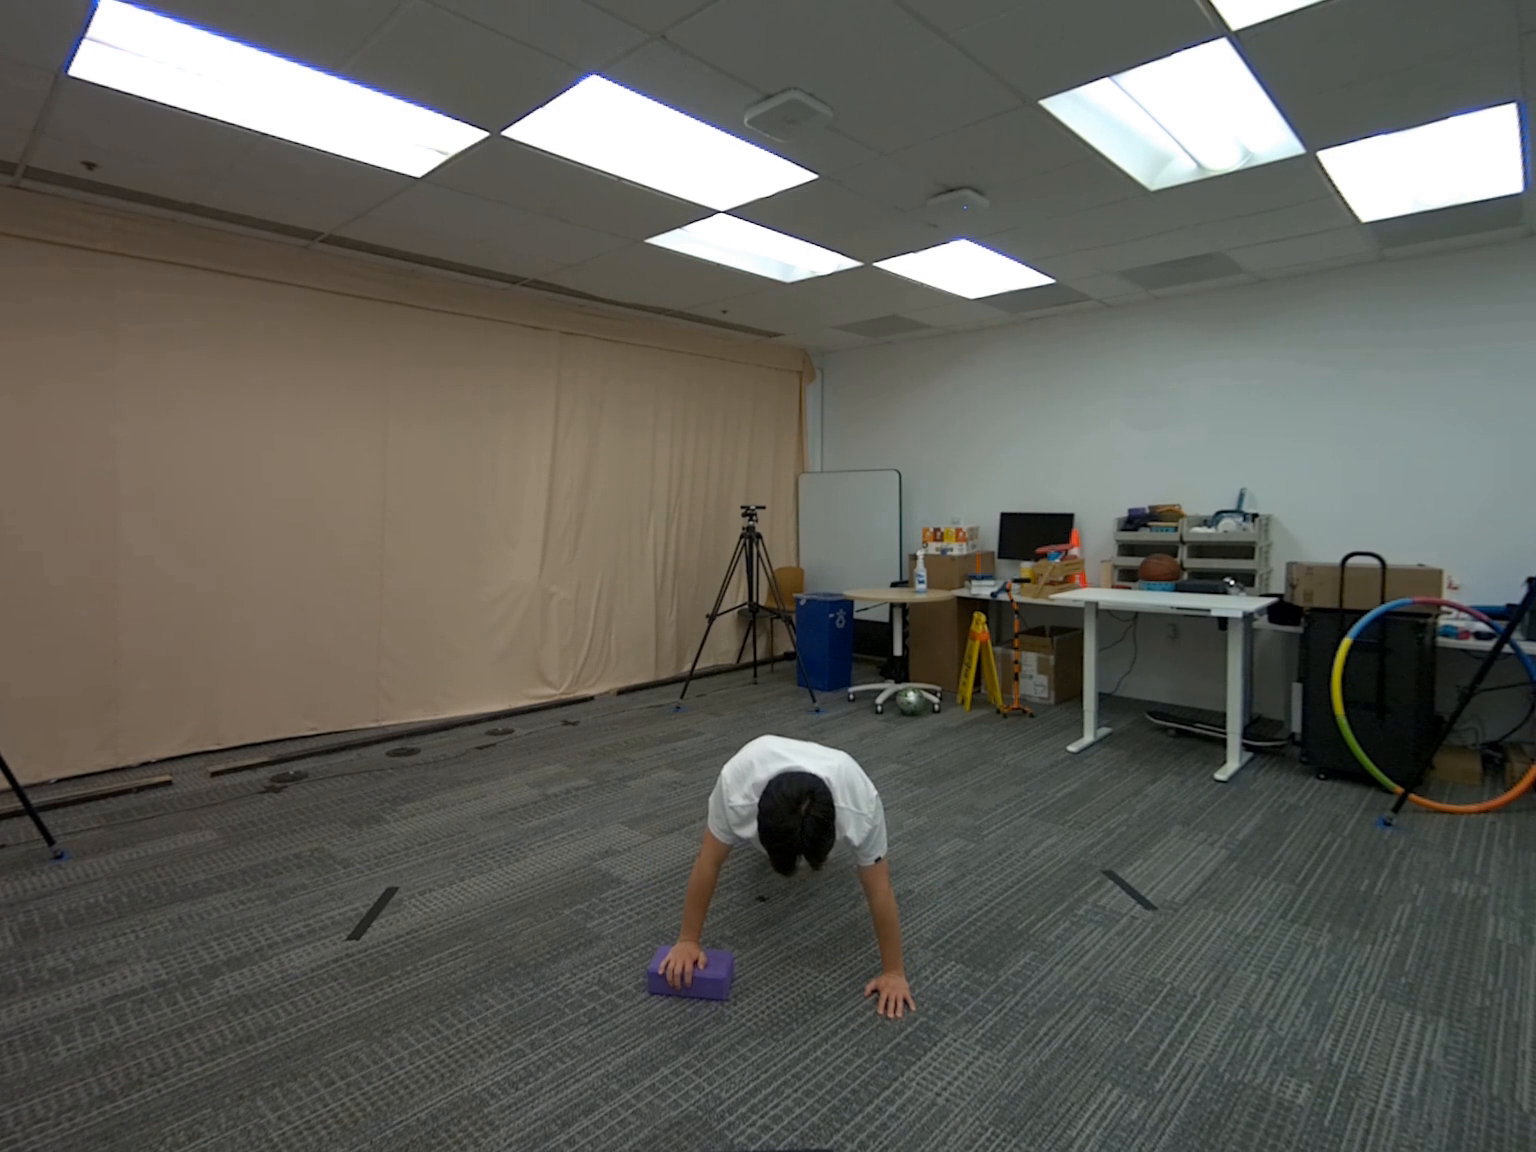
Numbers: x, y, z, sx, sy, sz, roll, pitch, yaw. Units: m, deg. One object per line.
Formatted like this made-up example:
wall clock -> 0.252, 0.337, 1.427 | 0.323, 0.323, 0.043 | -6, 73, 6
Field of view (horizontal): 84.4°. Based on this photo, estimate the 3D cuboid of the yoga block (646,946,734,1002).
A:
yoga block -> -0.216, 1.157, 2.446 | 0.232, 0.076, 0.147 | 2, 3, 11
